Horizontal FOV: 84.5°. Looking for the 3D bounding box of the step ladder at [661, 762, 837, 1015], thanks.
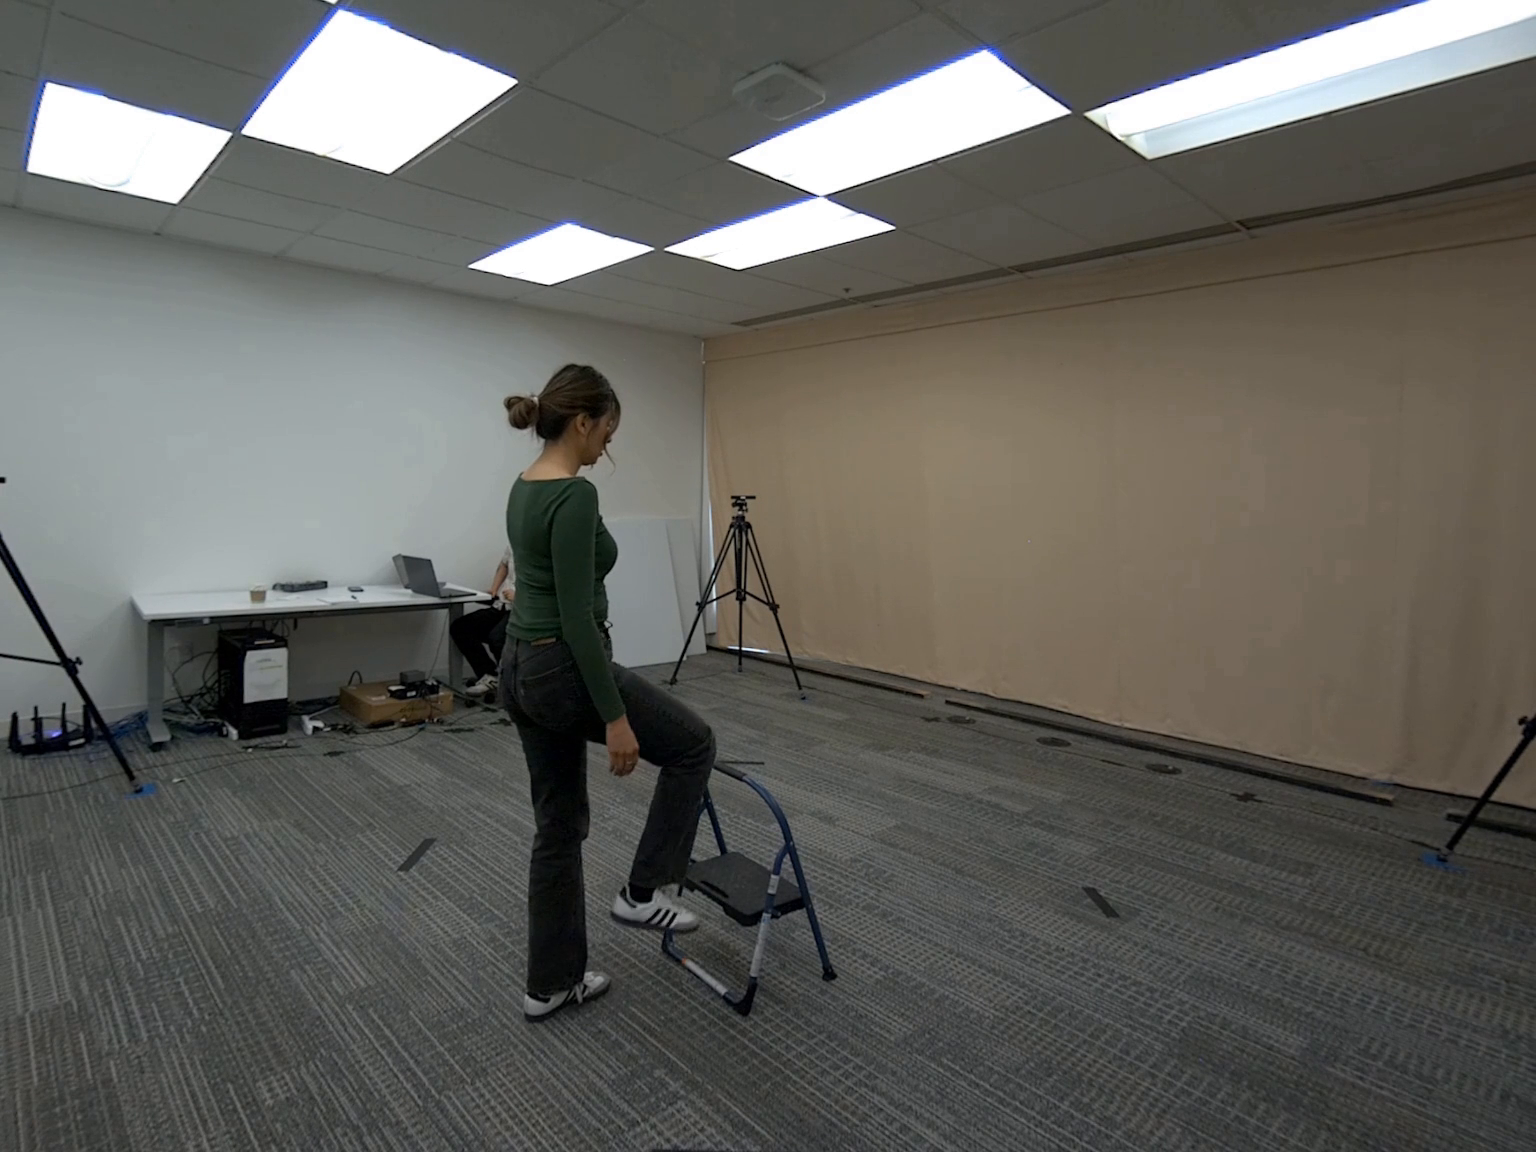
[{"bbox_3d":[-0.063,0.857,2.496,0.341,0.604,0.441,-2,5,-40],"label":"step ladder"}]
